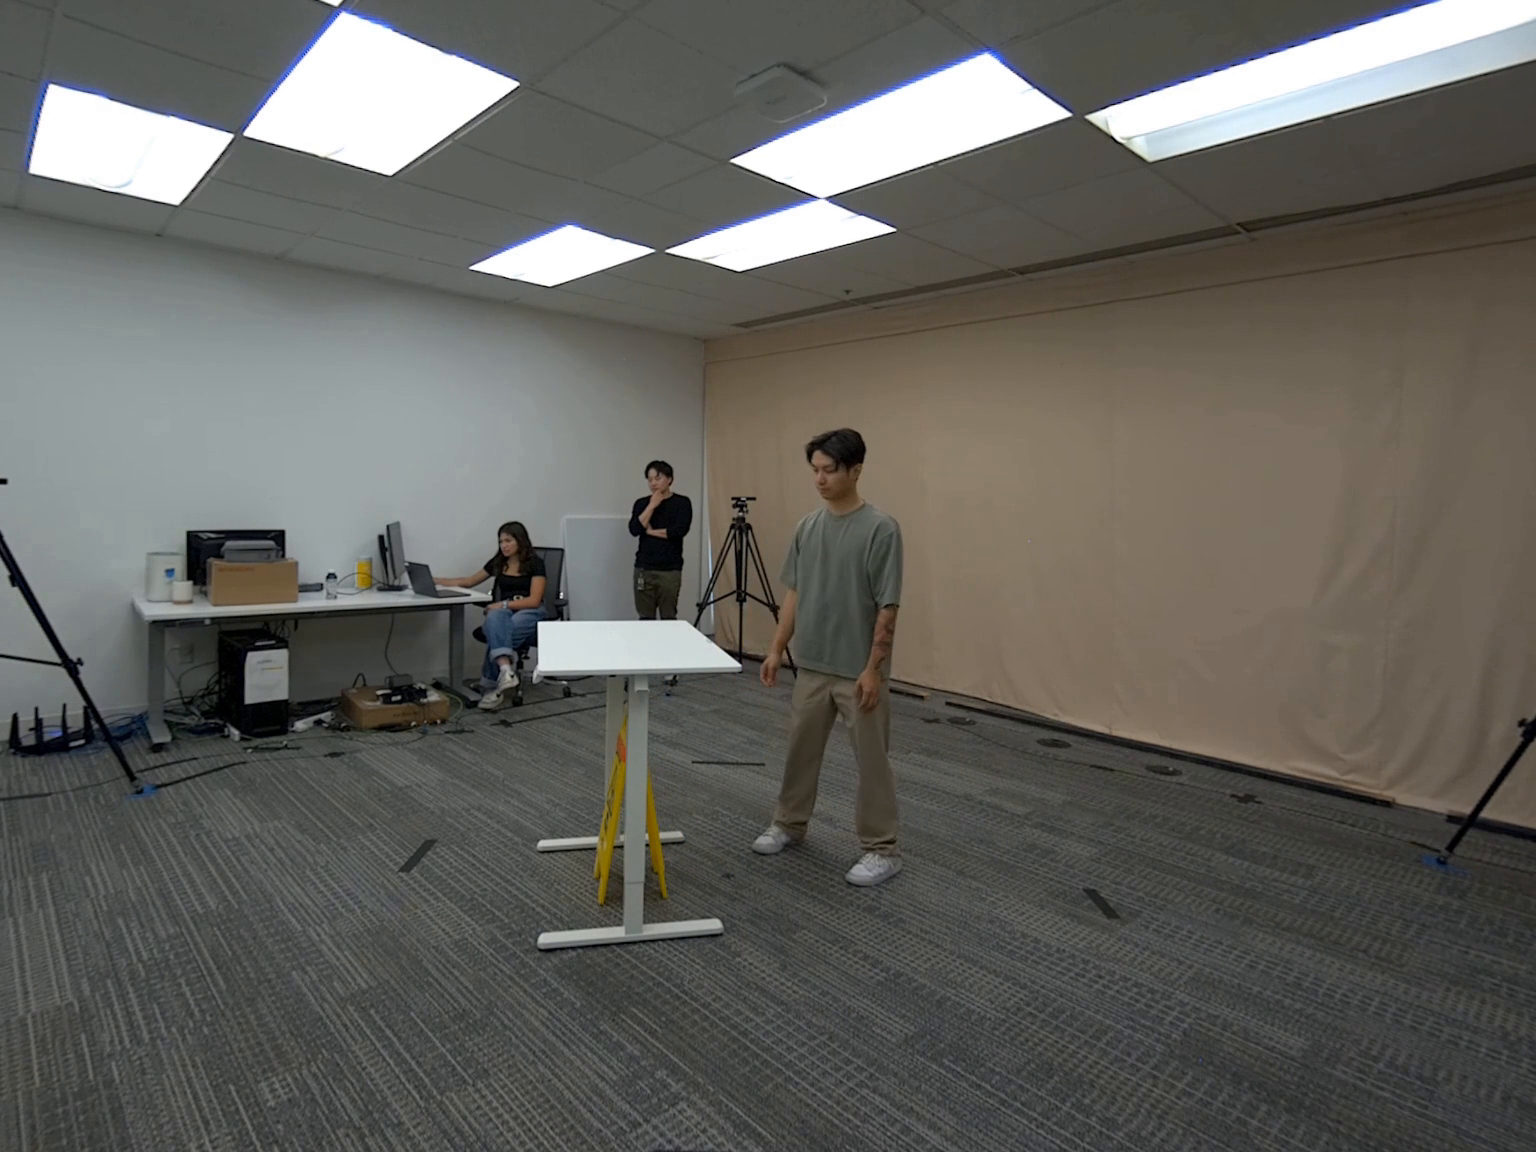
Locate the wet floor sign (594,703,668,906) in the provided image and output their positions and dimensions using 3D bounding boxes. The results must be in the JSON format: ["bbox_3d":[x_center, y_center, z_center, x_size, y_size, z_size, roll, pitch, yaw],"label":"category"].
[{"bbox_3d":[-0.509,0.793,3.004,0.286,0.645,0.286,0,2,-14],"label":"wet floor sign"}]
